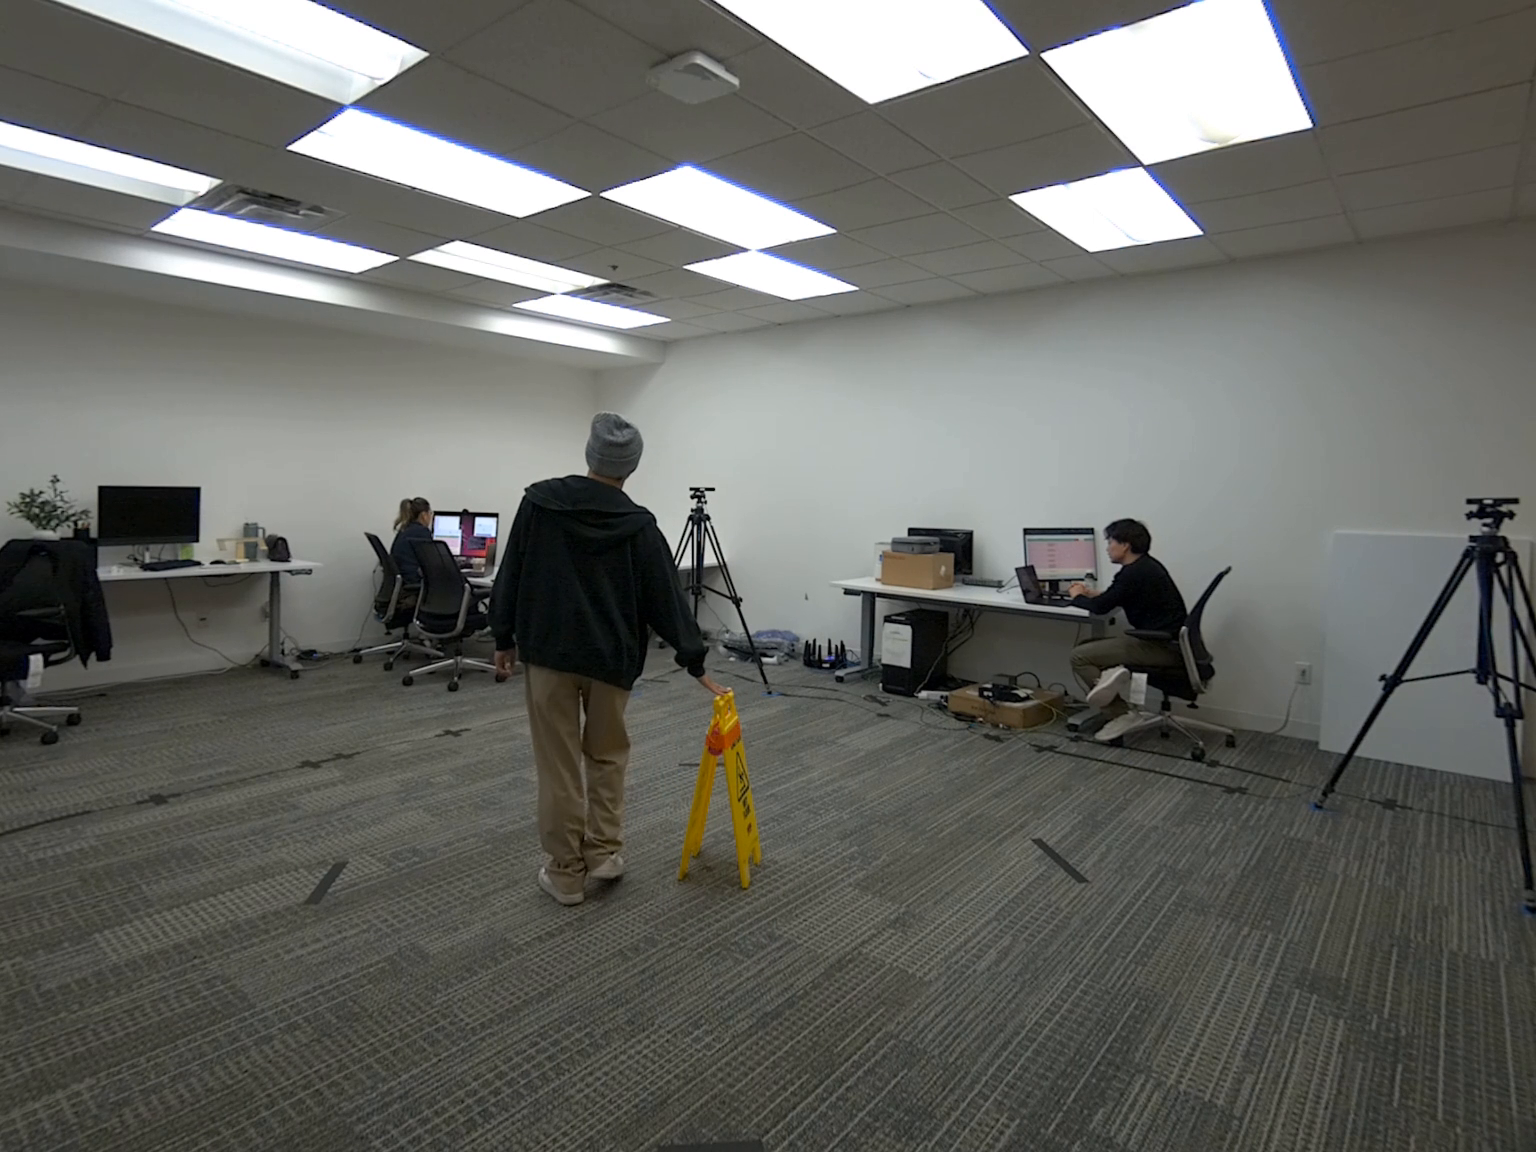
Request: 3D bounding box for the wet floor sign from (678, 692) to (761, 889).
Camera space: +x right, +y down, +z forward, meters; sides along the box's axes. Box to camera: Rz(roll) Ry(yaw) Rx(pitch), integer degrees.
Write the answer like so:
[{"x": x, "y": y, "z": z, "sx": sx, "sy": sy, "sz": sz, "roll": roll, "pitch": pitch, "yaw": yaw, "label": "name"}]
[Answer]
[{"x": -0.174, "y": 0.747, "z": 3.091, "sx": 0.294, "sy": 0.643, "sz": 0.279, "roll": 2, "pitch": 4, "yaw": 12, "label": "wet floor sign"}]
